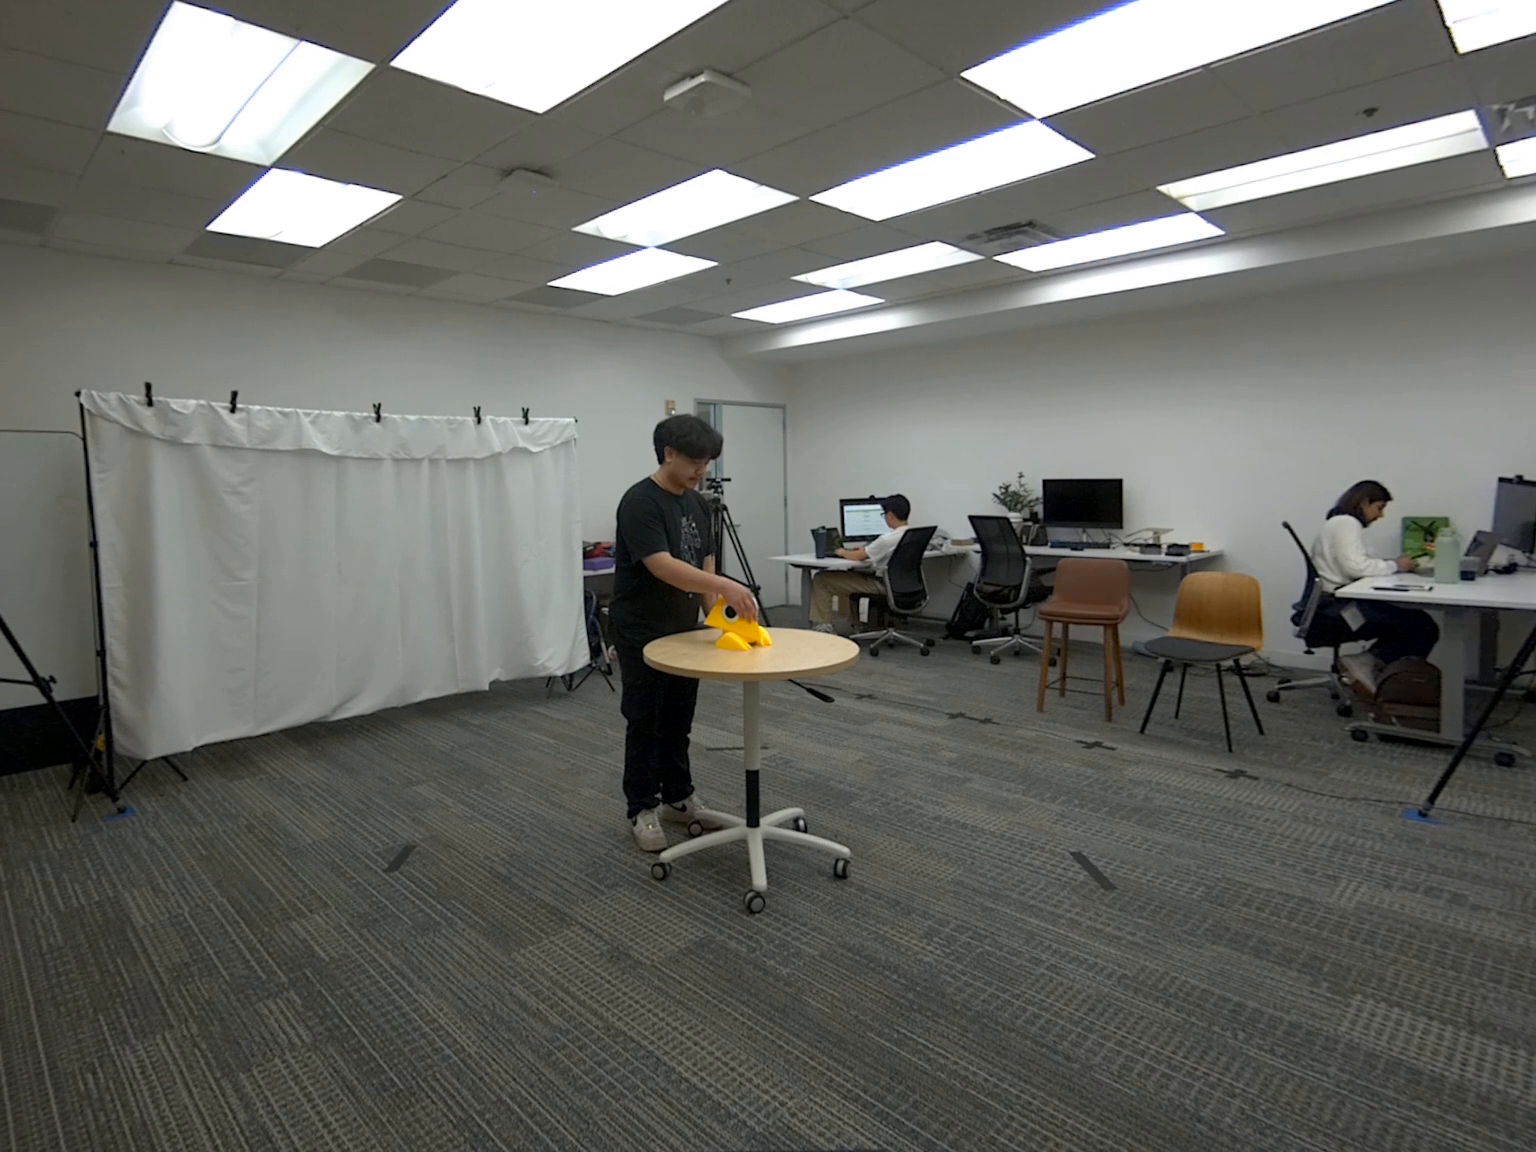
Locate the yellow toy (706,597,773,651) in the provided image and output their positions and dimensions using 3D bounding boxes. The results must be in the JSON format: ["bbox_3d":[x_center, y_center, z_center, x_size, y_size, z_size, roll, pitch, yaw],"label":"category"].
[{"bbox_3d":[-0.096,0.135,3.097,0.199,0.230,0.199,4,6,43],"label":"yellow toy"}]
